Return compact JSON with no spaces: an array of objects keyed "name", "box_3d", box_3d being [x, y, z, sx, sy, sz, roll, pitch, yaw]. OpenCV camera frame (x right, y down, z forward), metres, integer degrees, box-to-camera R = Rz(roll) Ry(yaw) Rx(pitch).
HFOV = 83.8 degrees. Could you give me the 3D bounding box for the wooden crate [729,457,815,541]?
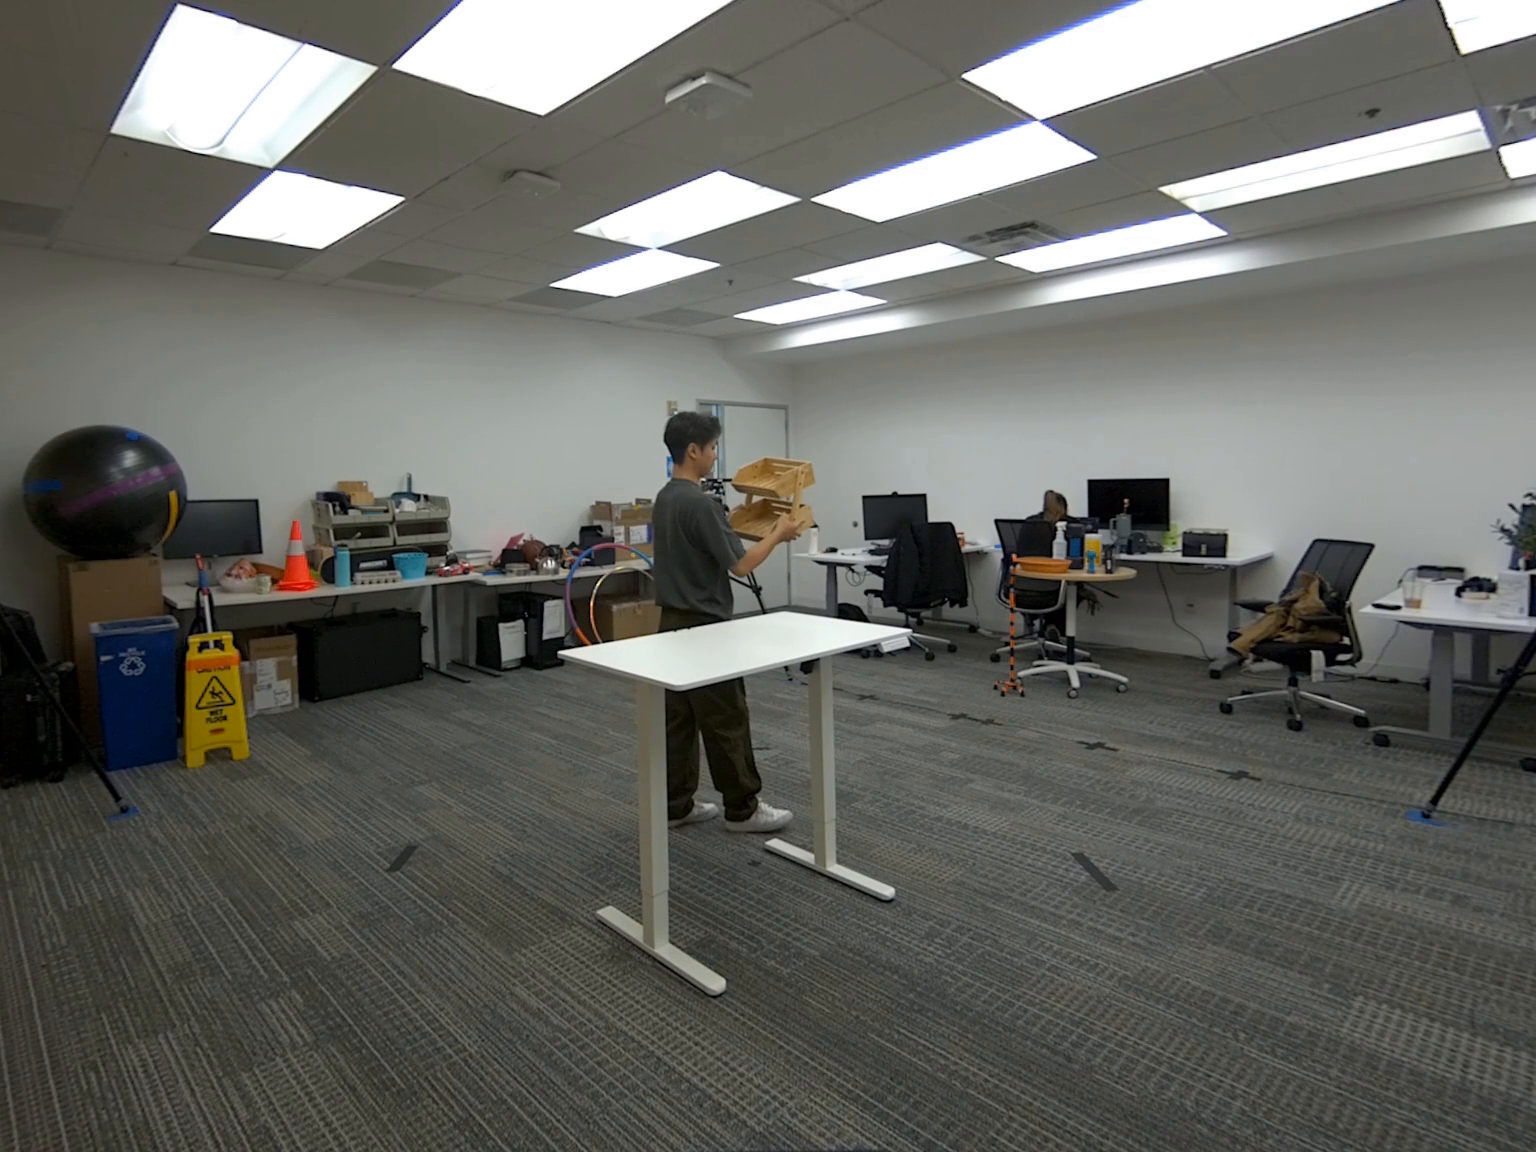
[{"name":"wooden crate","box_3d":[-0.006,-0.321,3.571,0.298,0.267,0.335,-27,25,-31]}]
